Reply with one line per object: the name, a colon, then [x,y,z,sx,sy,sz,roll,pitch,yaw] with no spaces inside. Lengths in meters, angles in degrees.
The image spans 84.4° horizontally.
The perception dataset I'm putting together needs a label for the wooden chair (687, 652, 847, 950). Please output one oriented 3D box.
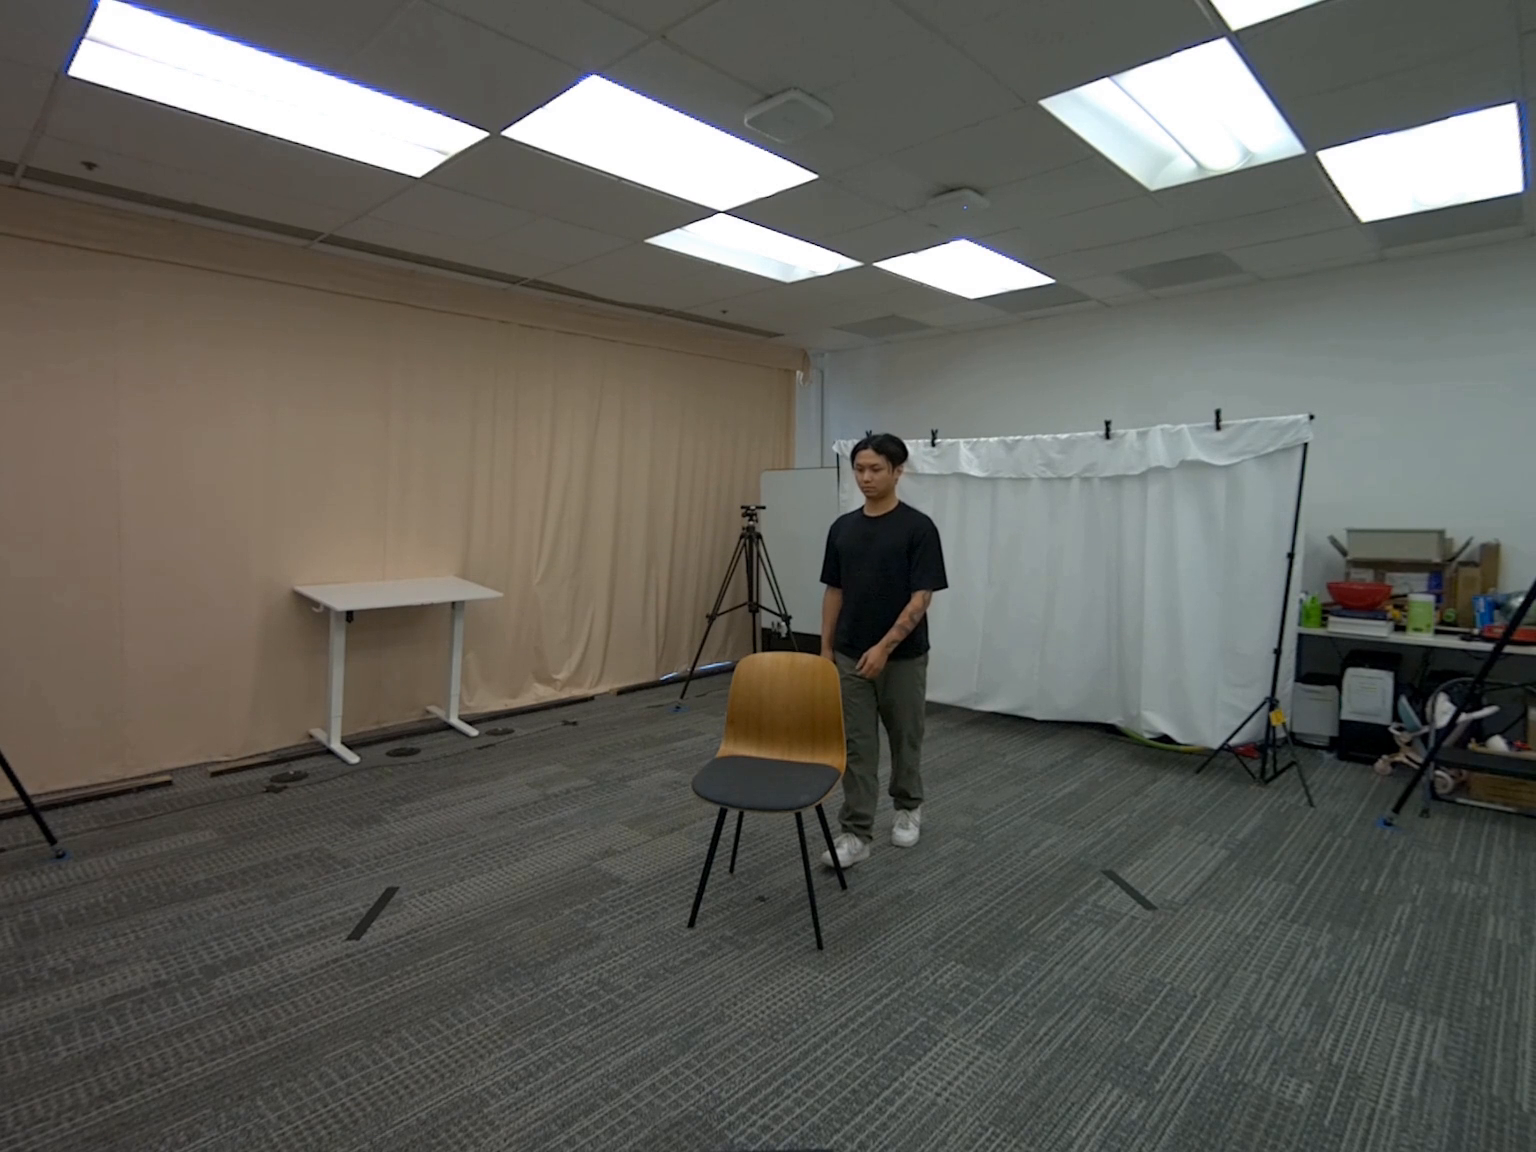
wooden chair: [0.015,0.724,2.878,0.488,0.878,0.513,1,0,18]
